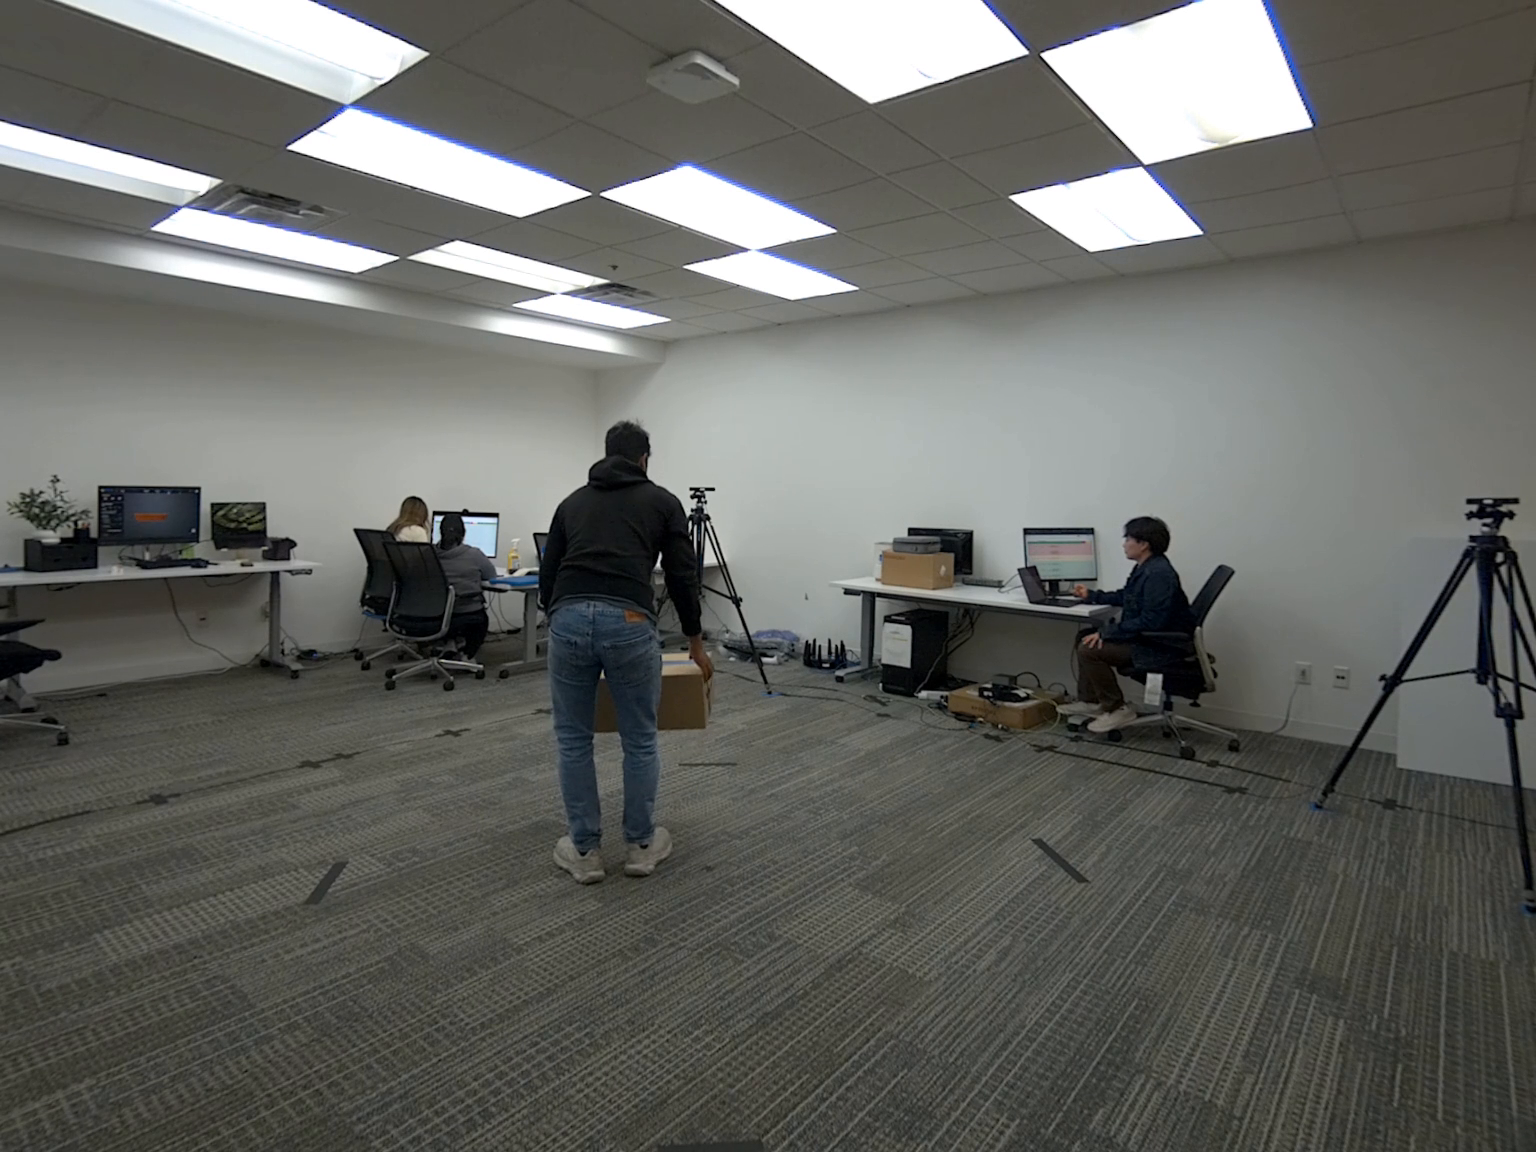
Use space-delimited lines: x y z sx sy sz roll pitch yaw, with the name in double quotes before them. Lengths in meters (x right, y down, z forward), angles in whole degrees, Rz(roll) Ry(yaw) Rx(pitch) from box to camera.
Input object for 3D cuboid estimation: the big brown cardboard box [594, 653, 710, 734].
"big brown cardboard box" -0.526 0.468 3.428 0.591 0.232 0.418 -2 6 3
